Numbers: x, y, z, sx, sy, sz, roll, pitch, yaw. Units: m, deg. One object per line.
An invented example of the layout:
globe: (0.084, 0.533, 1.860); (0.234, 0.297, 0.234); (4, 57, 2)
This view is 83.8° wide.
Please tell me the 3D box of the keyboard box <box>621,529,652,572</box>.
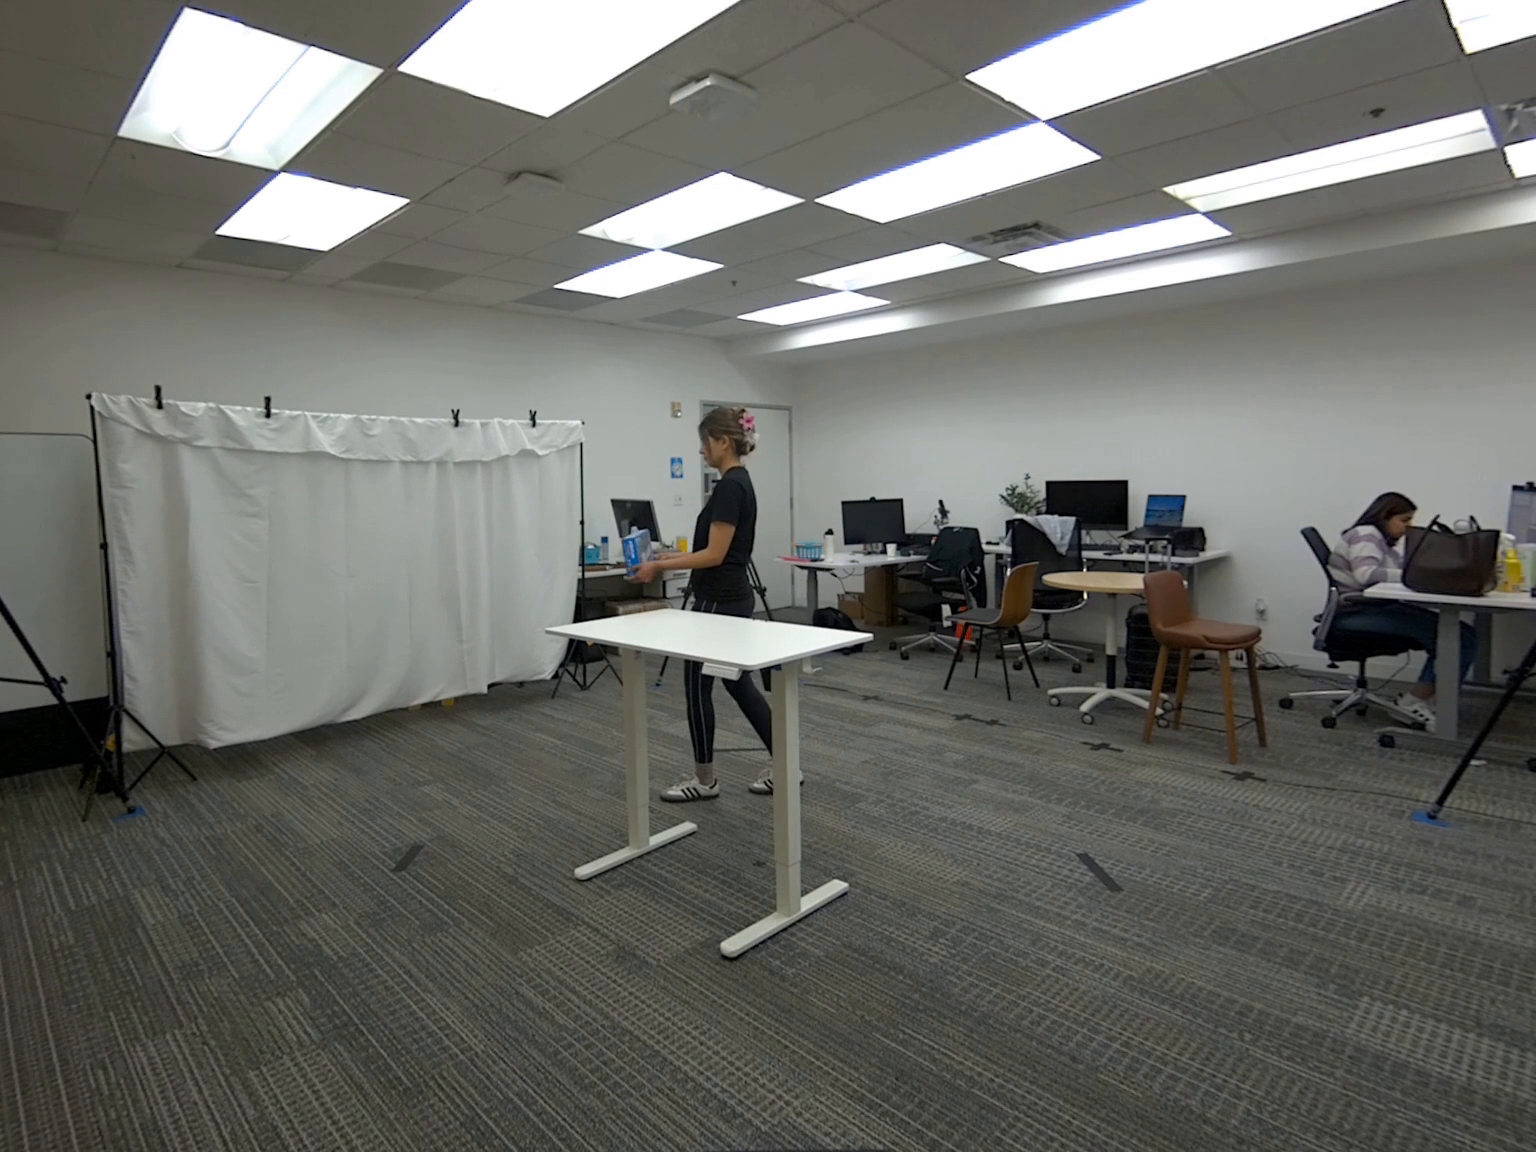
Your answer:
keyboard box: (-0.571, -0.104, 3.790); (0.059, 0.175, 0.438); (-9, 7, 2)
